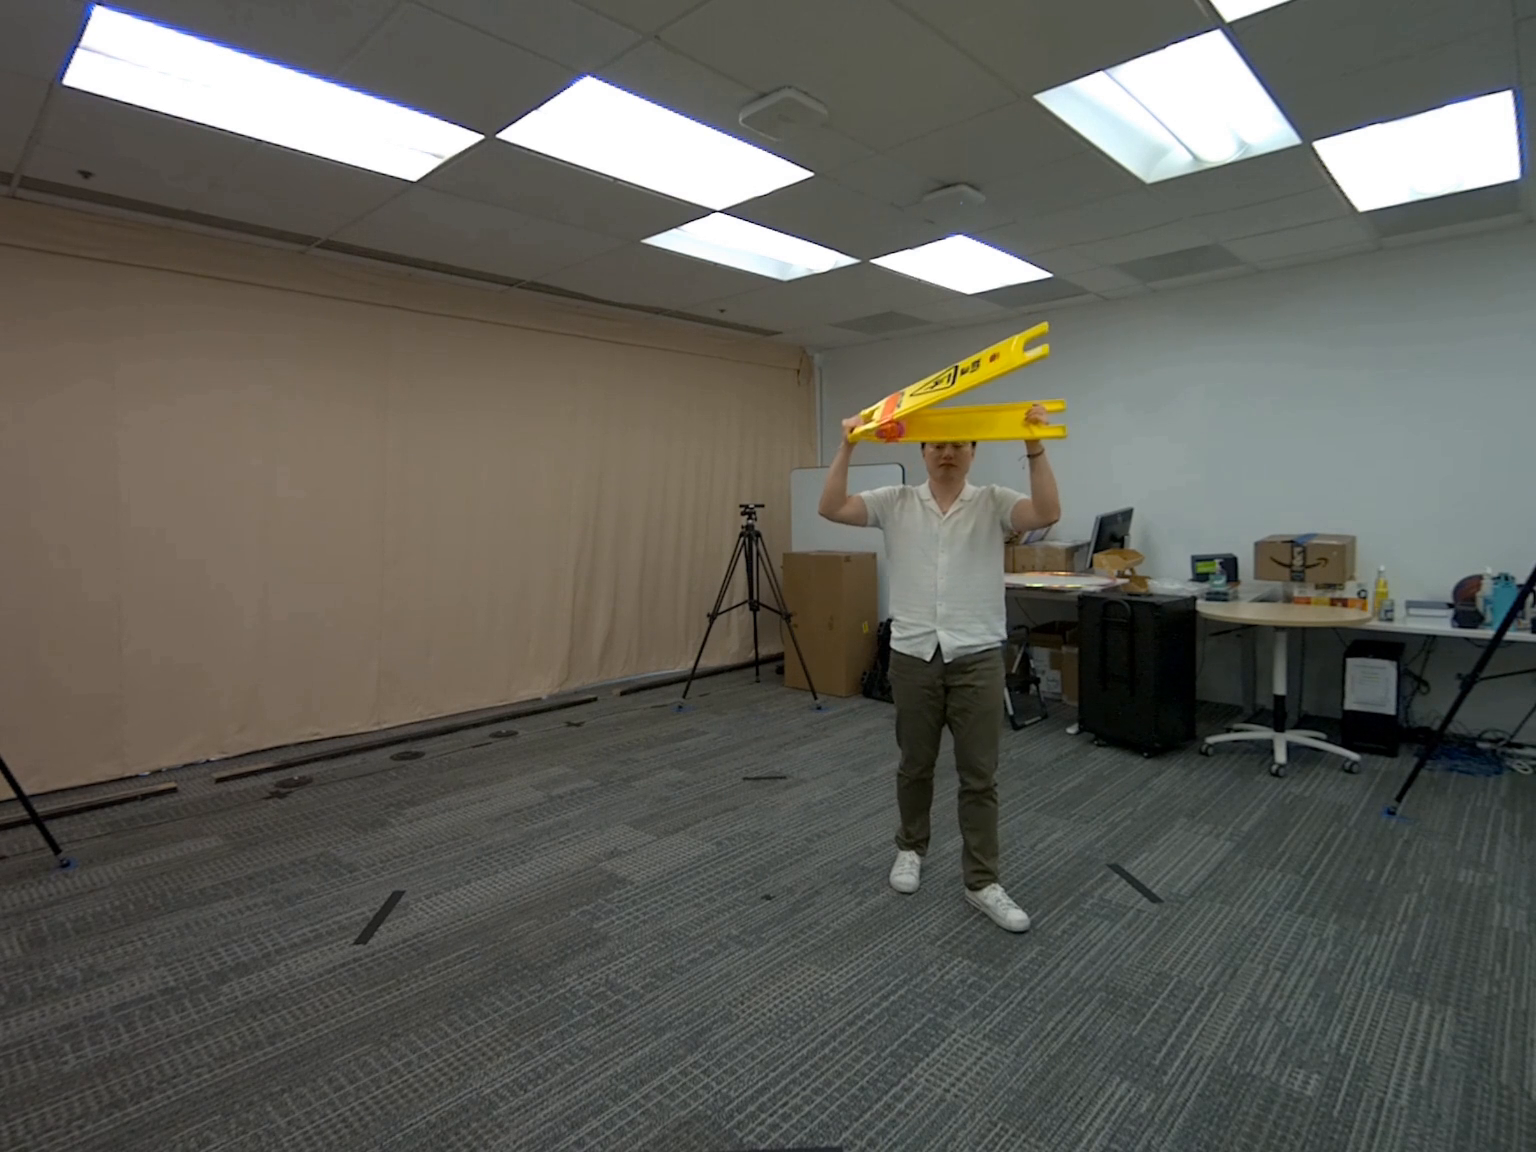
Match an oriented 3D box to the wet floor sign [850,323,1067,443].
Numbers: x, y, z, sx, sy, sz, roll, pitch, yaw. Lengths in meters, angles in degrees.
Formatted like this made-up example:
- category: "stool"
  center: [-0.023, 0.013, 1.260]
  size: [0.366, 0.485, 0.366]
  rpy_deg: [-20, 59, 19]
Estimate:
- category: "wet floor sign"
  center: [0.582, -0.532, 2.662]
  size: [0.660, 0.283, 0.282]
  rpy_deg: [-10, 28, 25]
